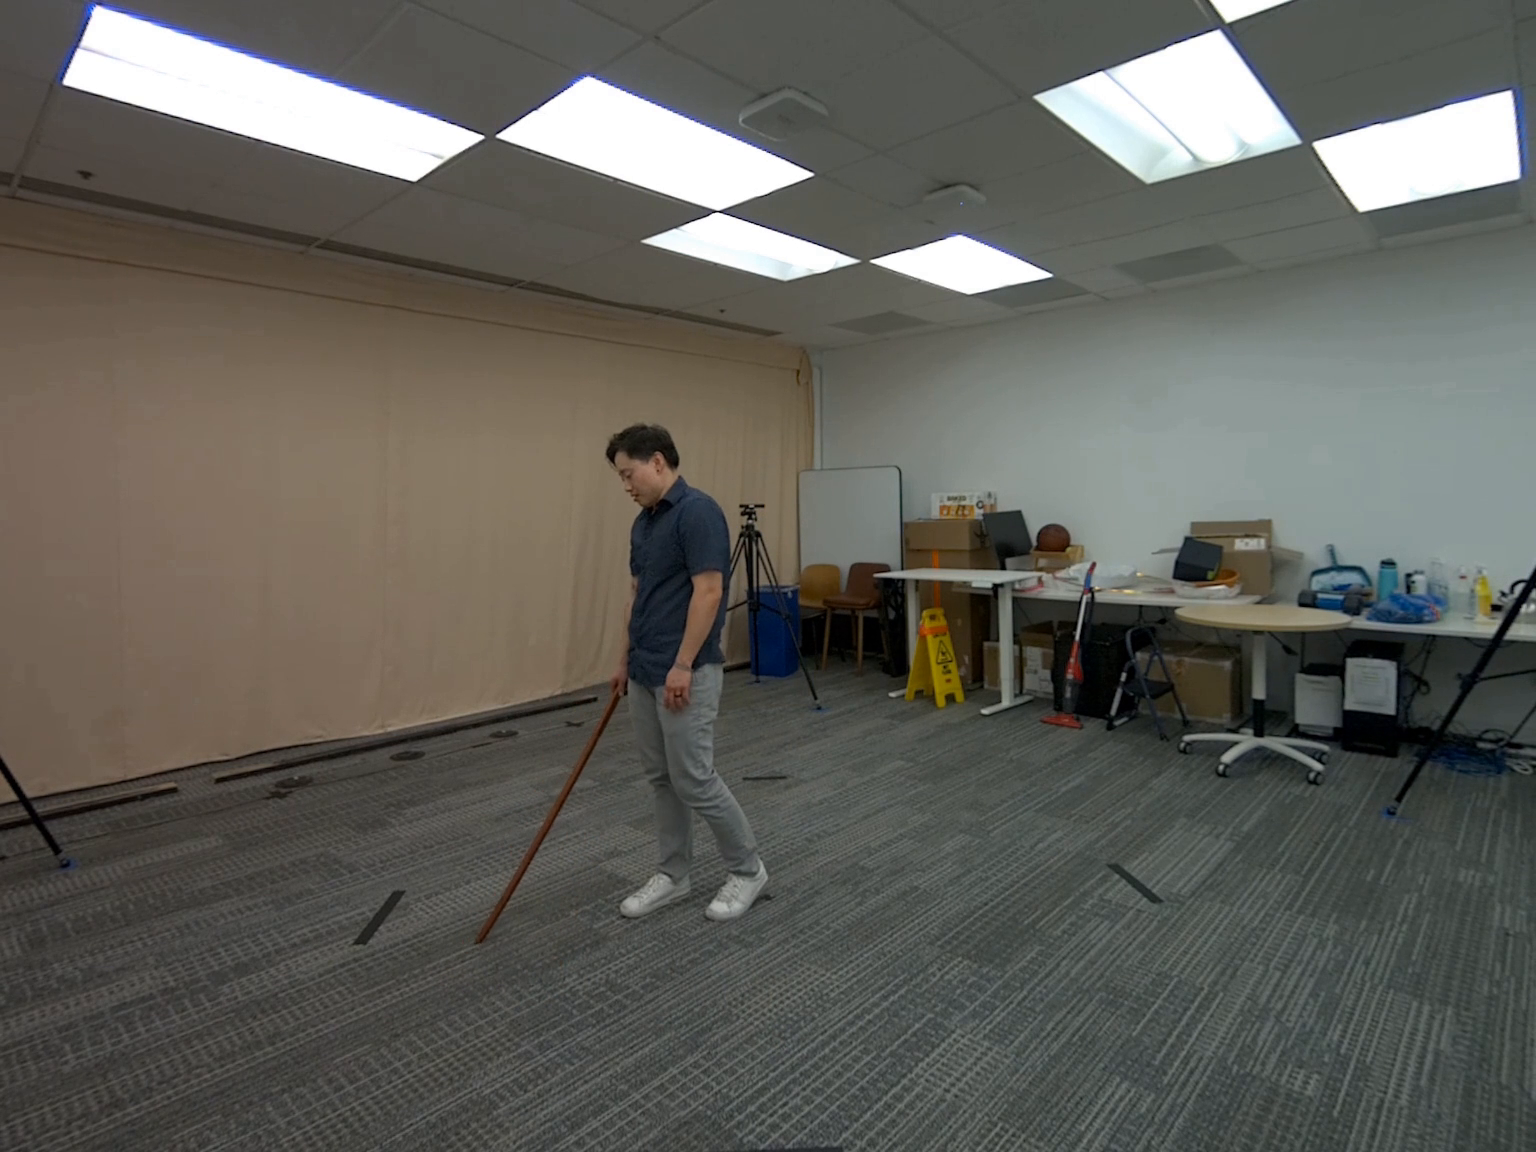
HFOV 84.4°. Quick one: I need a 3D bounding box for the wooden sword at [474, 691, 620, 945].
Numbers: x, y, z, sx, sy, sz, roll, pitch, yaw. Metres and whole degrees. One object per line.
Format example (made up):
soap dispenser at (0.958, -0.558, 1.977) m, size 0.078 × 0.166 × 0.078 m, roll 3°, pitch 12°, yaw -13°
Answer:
wooden sword at (-0.719, 0.779, 2.921) m, size 0.053 × 1.025 × 0.023 m, roll 4°, pitch -34°, yaw 42°
